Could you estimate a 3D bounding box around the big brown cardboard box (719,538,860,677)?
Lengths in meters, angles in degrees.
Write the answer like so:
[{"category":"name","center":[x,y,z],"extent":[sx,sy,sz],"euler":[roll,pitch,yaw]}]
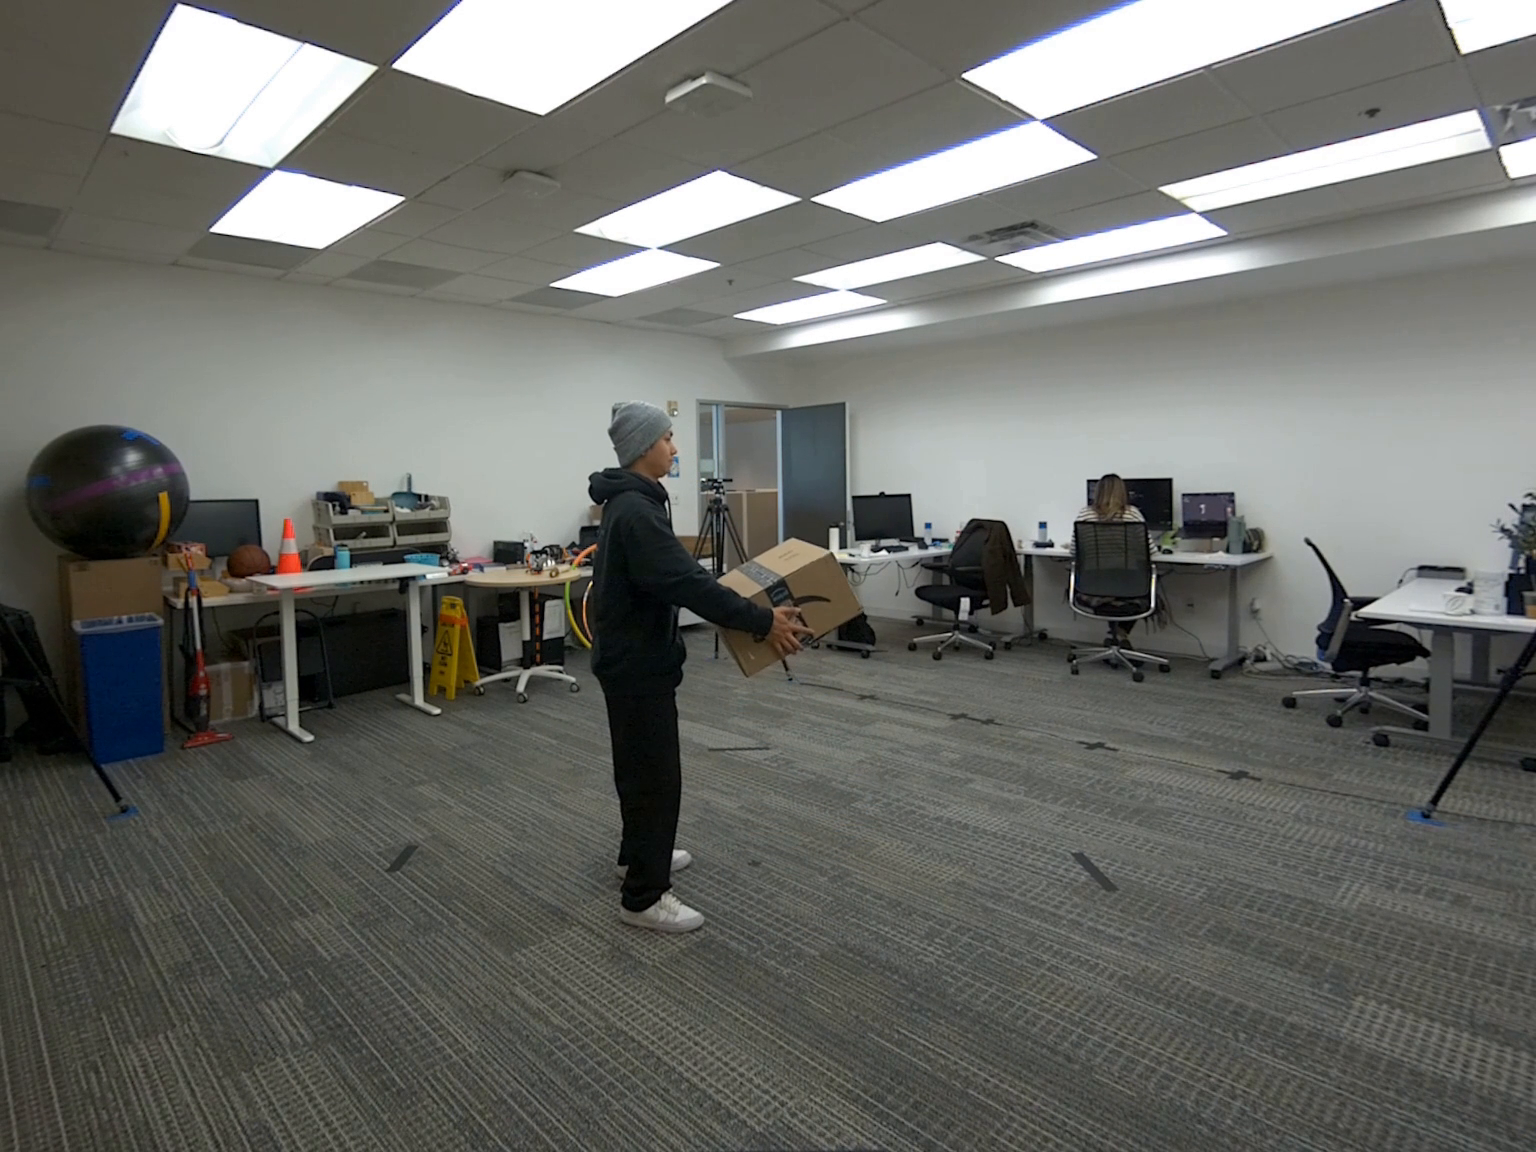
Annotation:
[{"category":"big brown cardboard box","center":[0.019,0.083,2.872],"extent":[0.417,0.230,0.597],"euler":[-28,11,-5]}]
